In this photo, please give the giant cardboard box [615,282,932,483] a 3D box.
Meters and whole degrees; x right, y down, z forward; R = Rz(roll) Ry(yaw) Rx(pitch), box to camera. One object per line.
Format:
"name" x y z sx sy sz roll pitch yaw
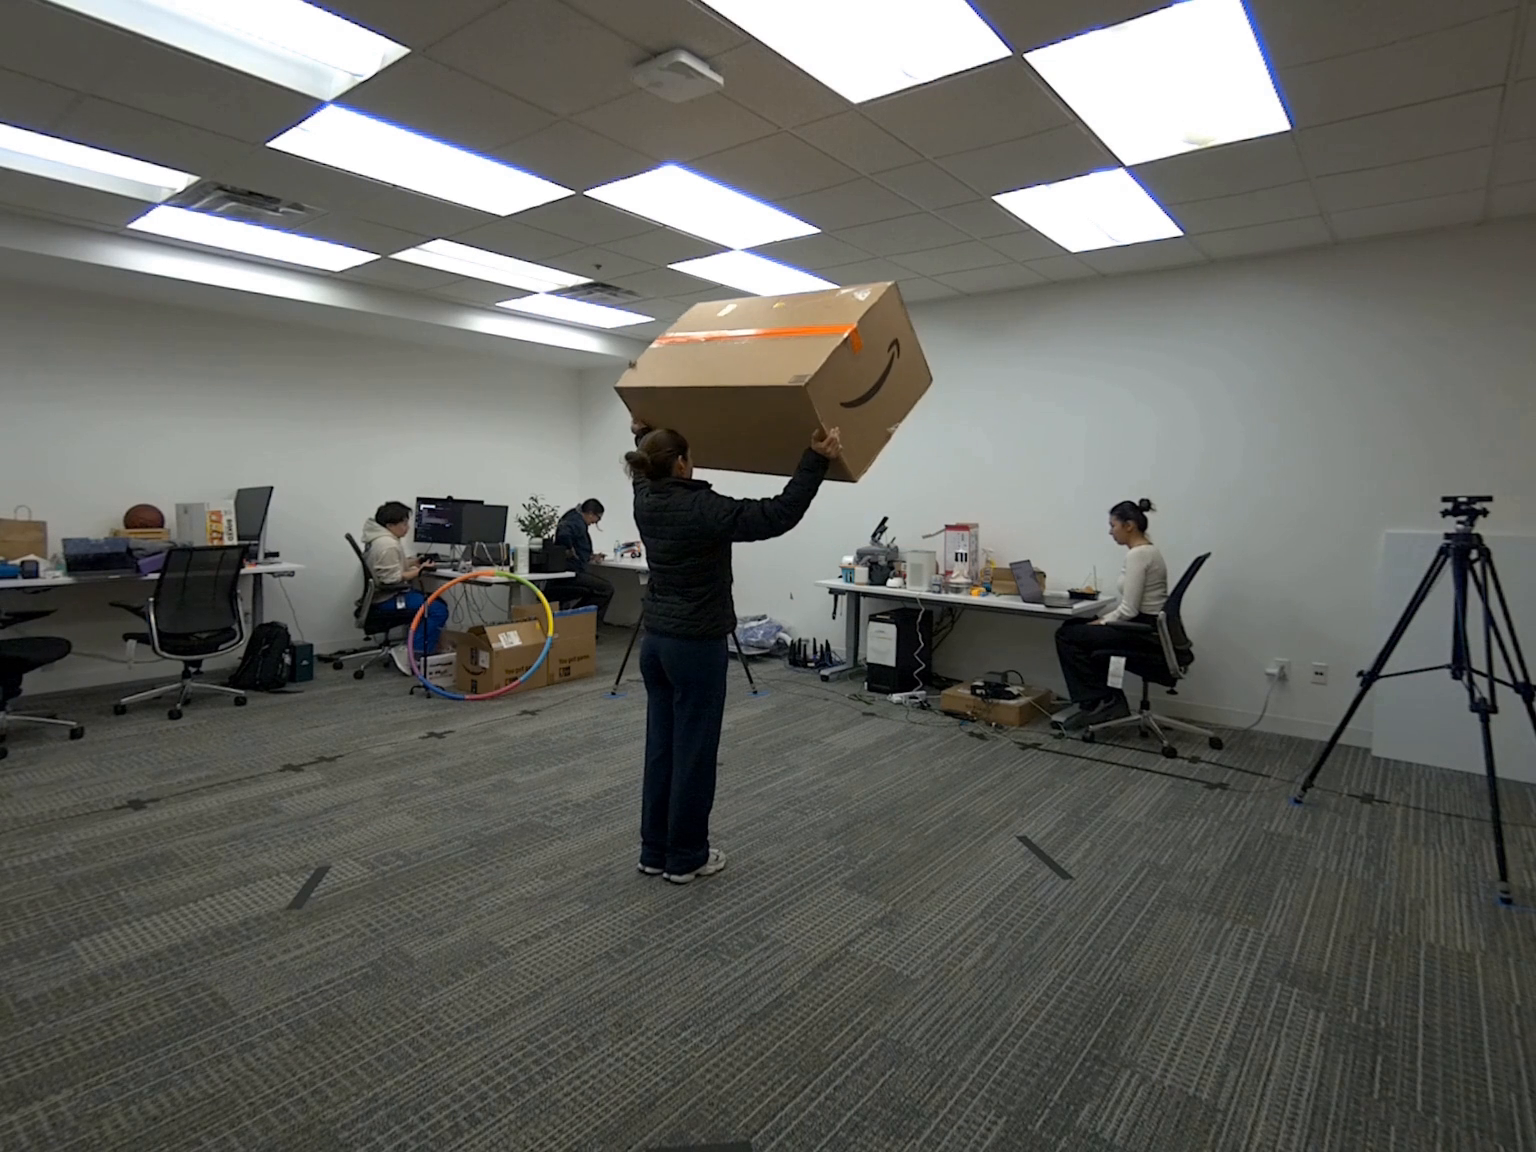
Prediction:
"giant cardboard box" 0.009 -0.720 3.252 1.065 0.585 0.430 12 -35 44
